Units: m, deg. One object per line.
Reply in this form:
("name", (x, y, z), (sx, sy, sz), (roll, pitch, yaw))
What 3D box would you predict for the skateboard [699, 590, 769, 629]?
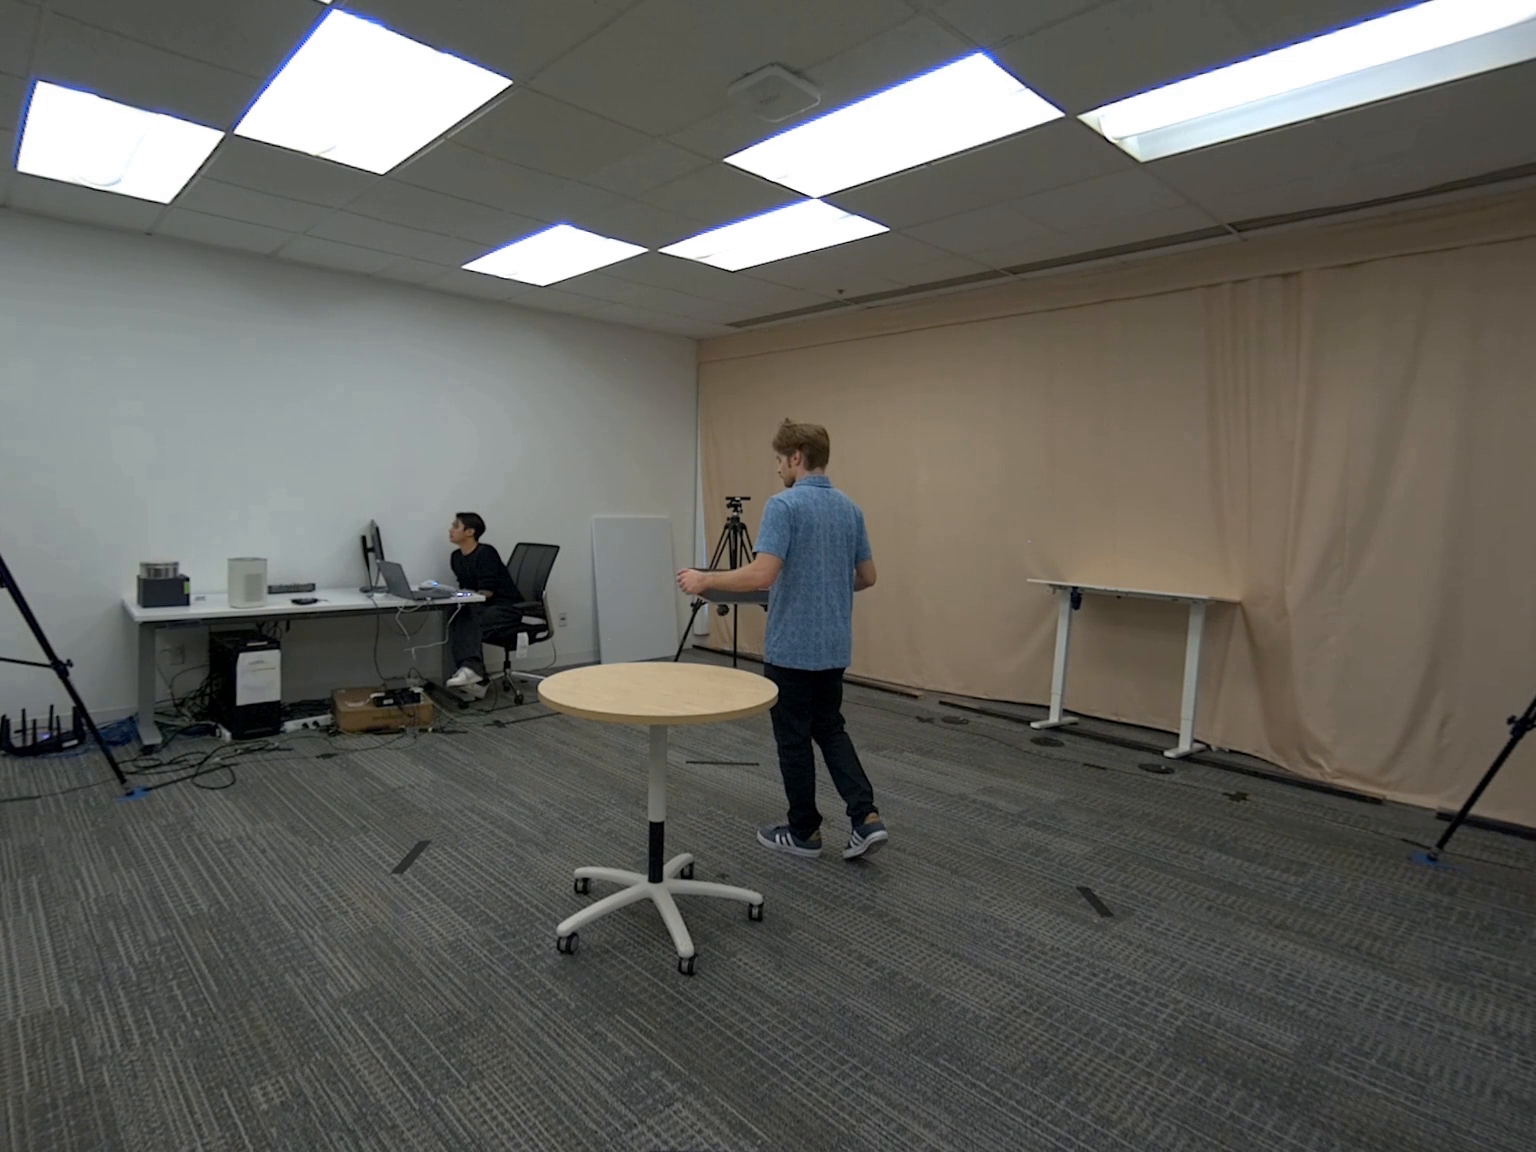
("skateboard", (-0.044, 0.072, 3.480), (0.767, 0.110, 0.199), (3, 42, -38))
